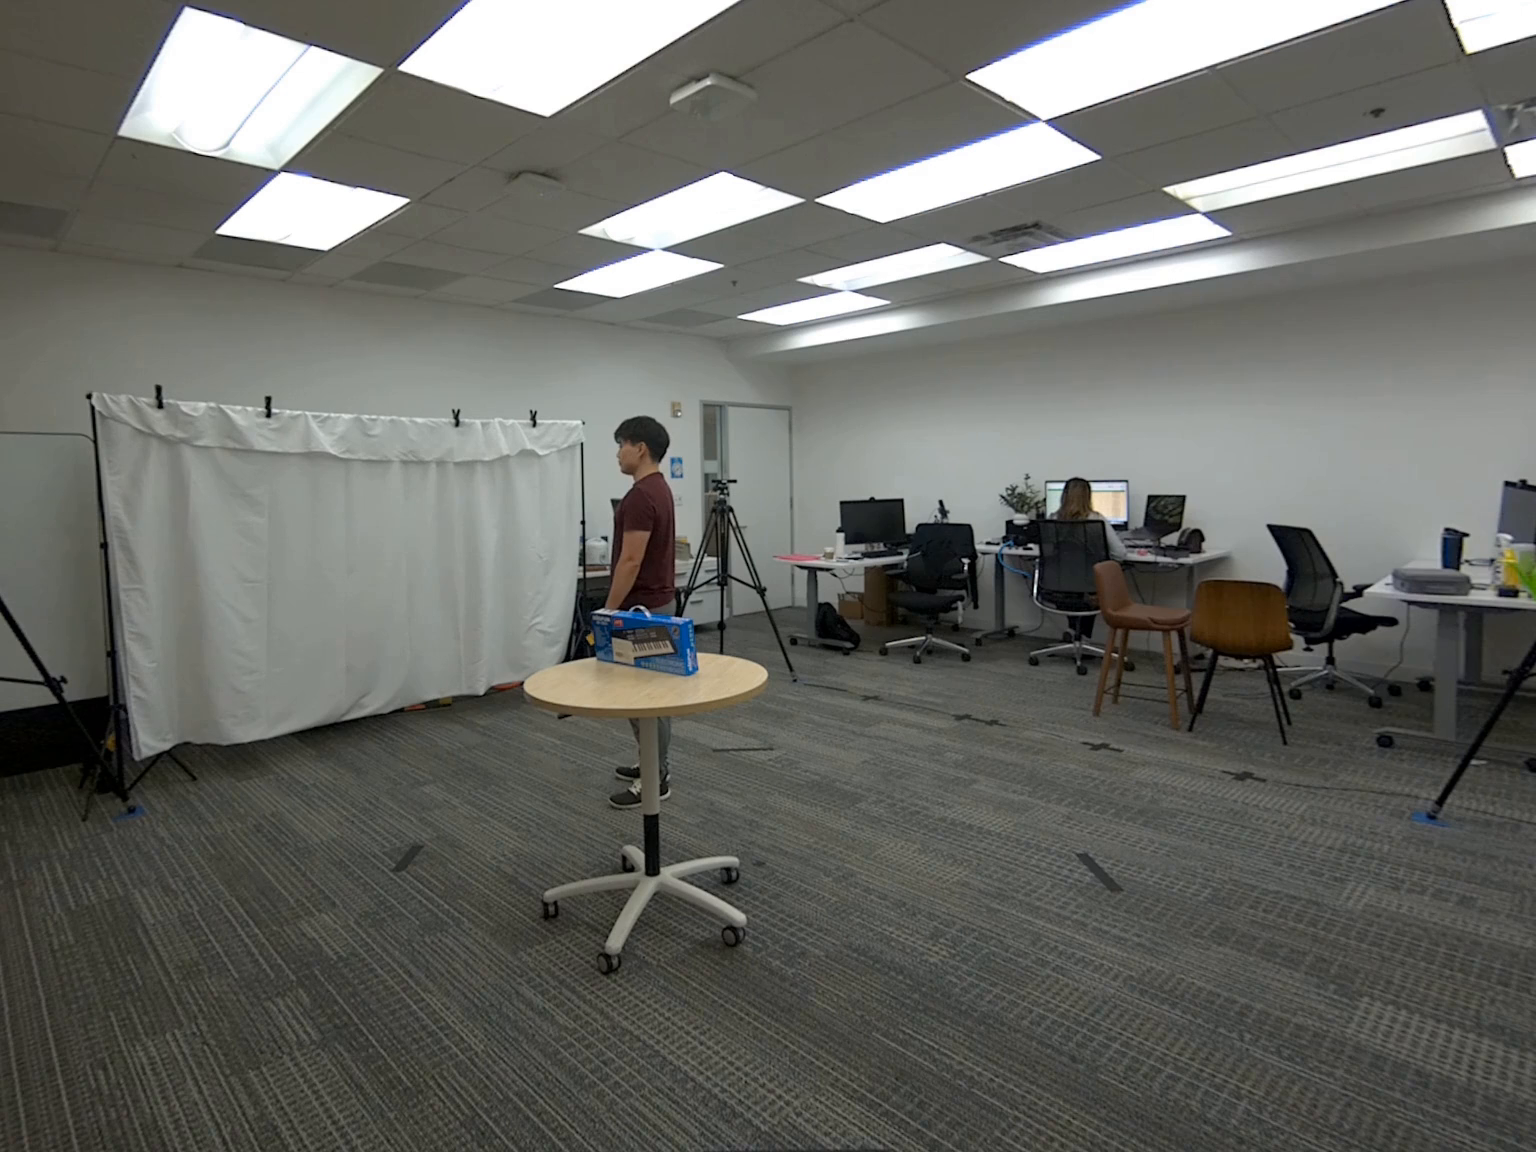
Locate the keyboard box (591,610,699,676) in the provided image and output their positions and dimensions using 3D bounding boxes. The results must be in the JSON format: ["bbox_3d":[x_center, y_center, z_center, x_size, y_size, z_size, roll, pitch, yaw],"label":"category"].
[{"bbox_3d":[-0.420,0.219,2.835,0.450,0.174,0.058,3,11,39],"label":"keyboard box"}]
